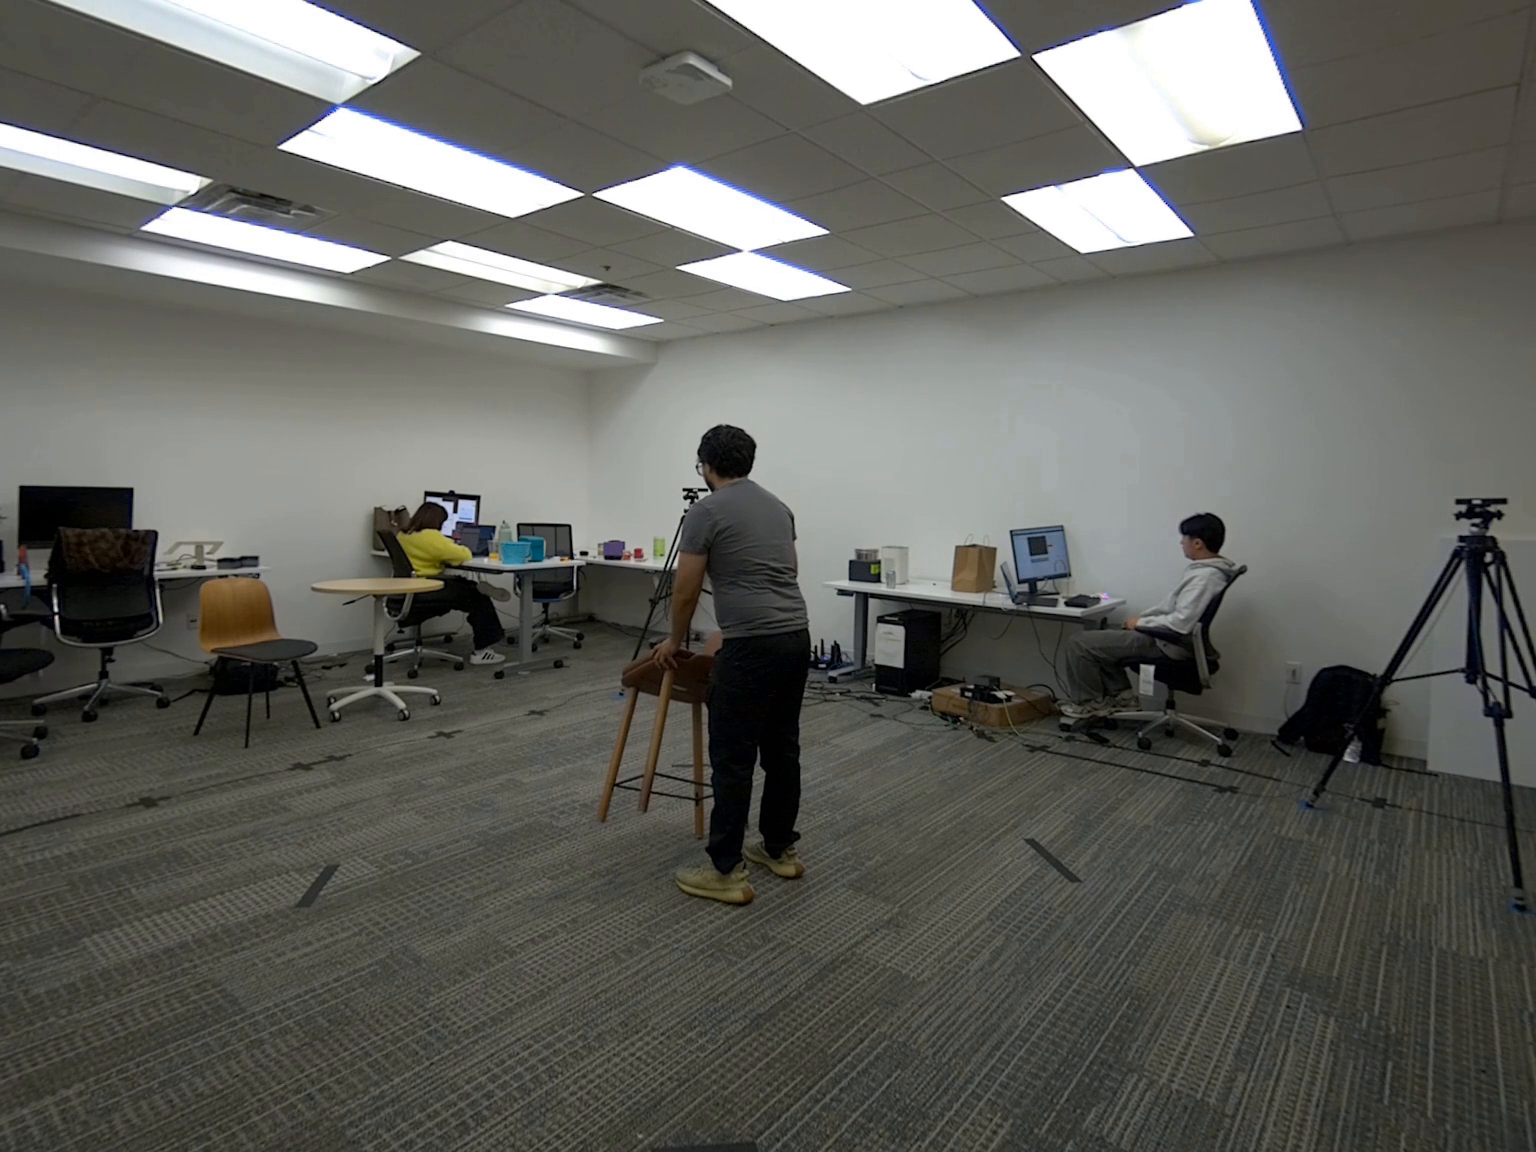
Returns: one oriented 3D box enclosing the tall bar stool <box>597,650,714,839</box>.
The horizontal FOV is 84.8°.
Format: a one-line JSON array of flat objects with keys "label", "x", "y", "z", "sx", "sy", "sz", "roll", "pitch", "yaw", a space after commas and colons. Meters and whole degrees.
[{"label": "tall bar stool", "x": -0.346, "y": 0.529, "z": 3.367, "sx": 0.454, "sy": 0.908, "sz": 0.461, "roll": 19, "pitch": -29, "yaw": -25}]
